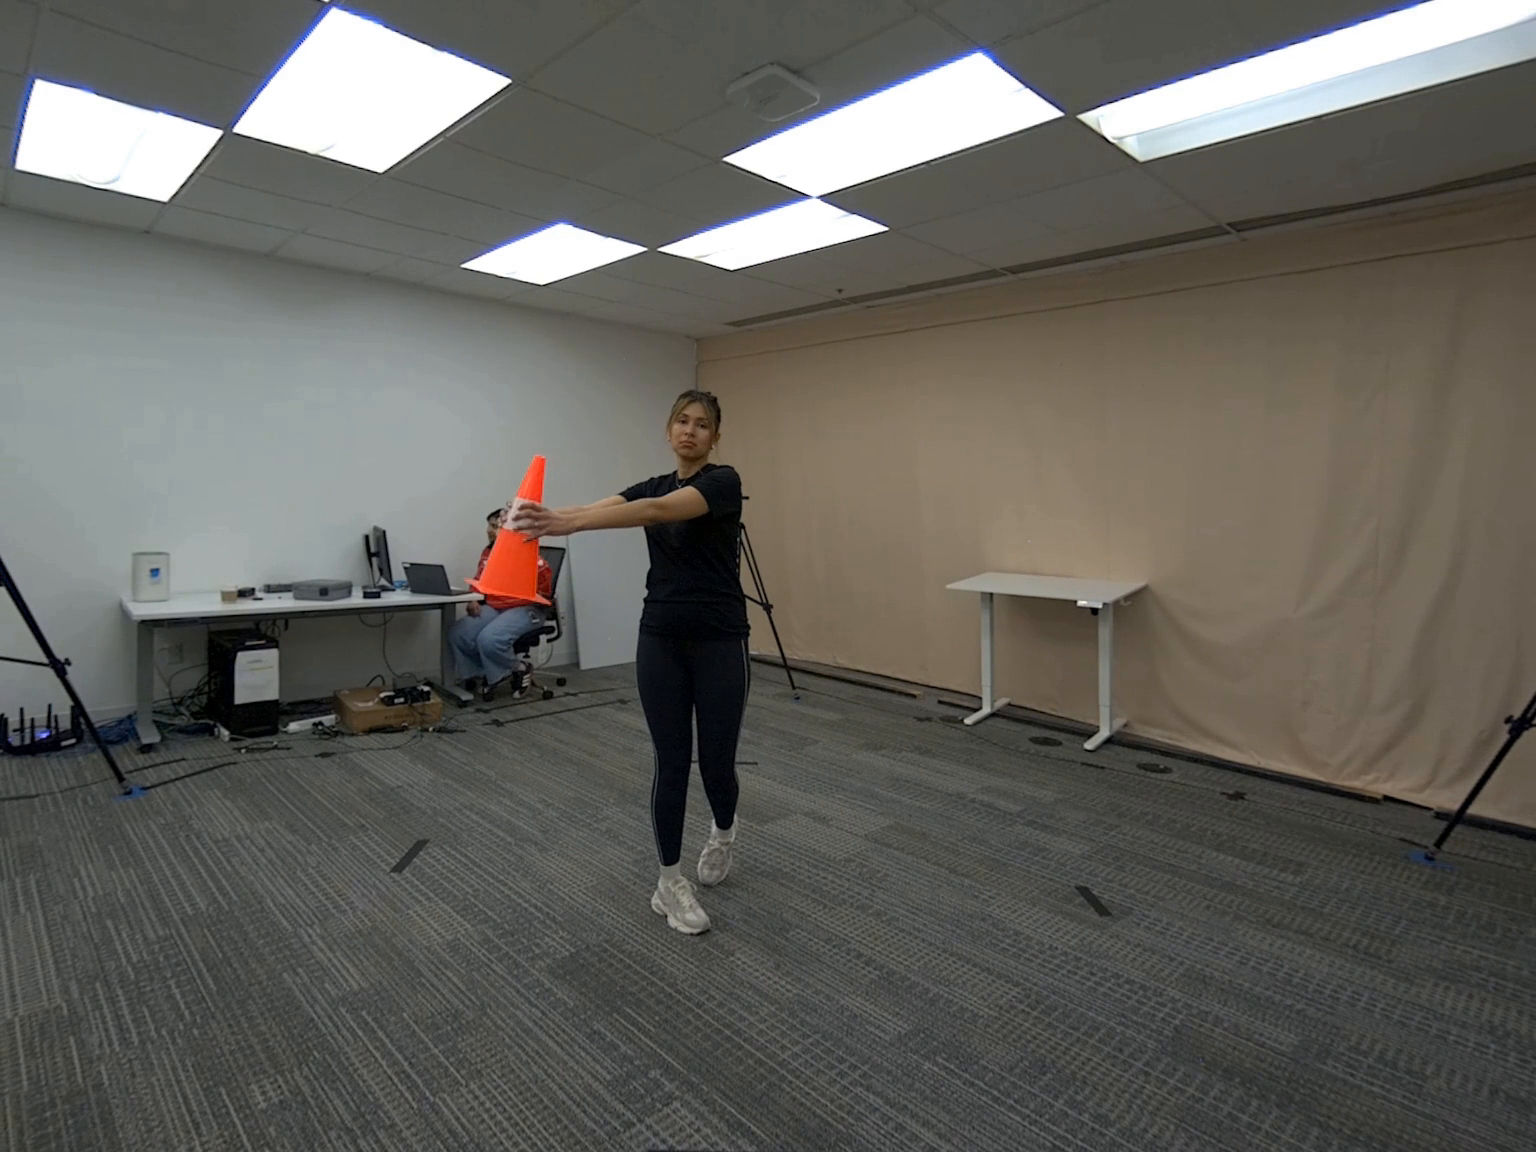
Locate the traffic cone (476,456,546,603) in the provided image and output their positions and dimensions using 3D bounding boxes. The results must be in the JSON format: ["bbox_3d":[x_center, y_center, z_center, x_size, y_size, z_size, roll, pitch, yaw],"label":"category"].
[{"bbox_3d":[-0.669,-0.137,2.284,0.207,0.384,0.201,14,-1,19],"label":"traffic cone"}]
